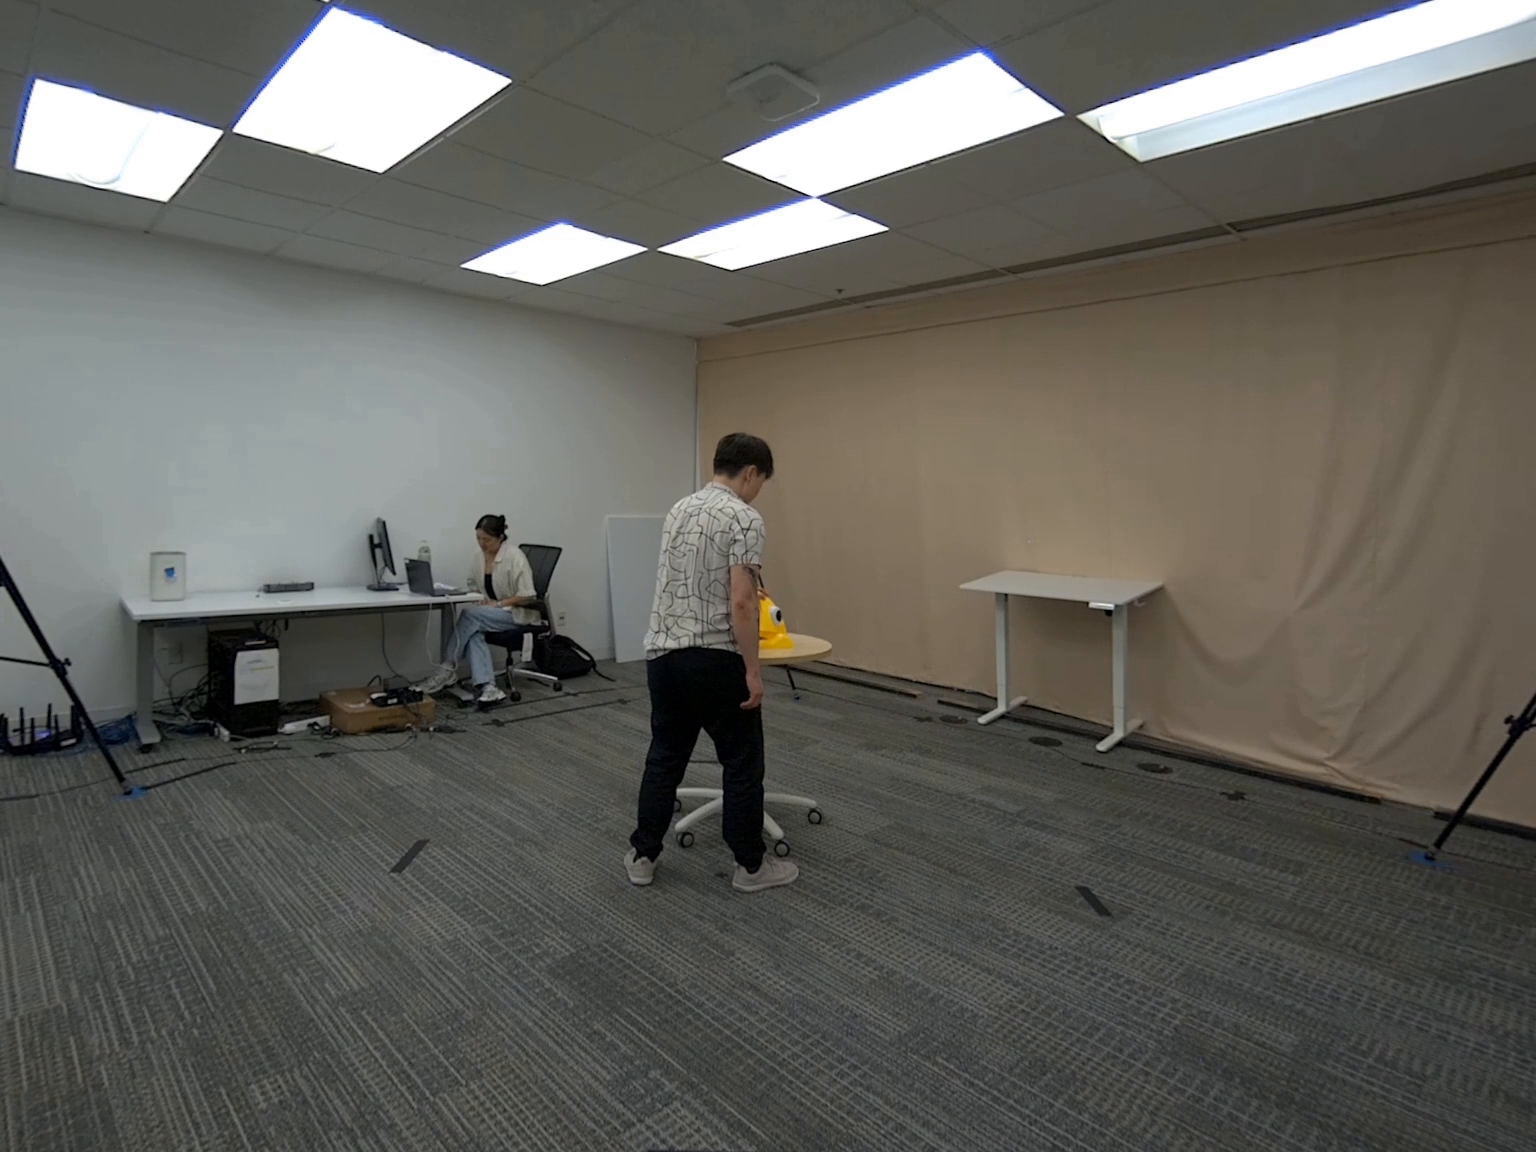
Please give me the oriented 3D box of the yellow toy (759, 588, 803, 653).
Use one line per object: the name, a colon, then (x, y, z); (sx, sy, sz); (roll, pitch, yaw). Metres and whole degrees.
yellow toy: (-0.001, 0.177, 3.497); (0.189, 0.230, 0.209); (0, 4, -31)
